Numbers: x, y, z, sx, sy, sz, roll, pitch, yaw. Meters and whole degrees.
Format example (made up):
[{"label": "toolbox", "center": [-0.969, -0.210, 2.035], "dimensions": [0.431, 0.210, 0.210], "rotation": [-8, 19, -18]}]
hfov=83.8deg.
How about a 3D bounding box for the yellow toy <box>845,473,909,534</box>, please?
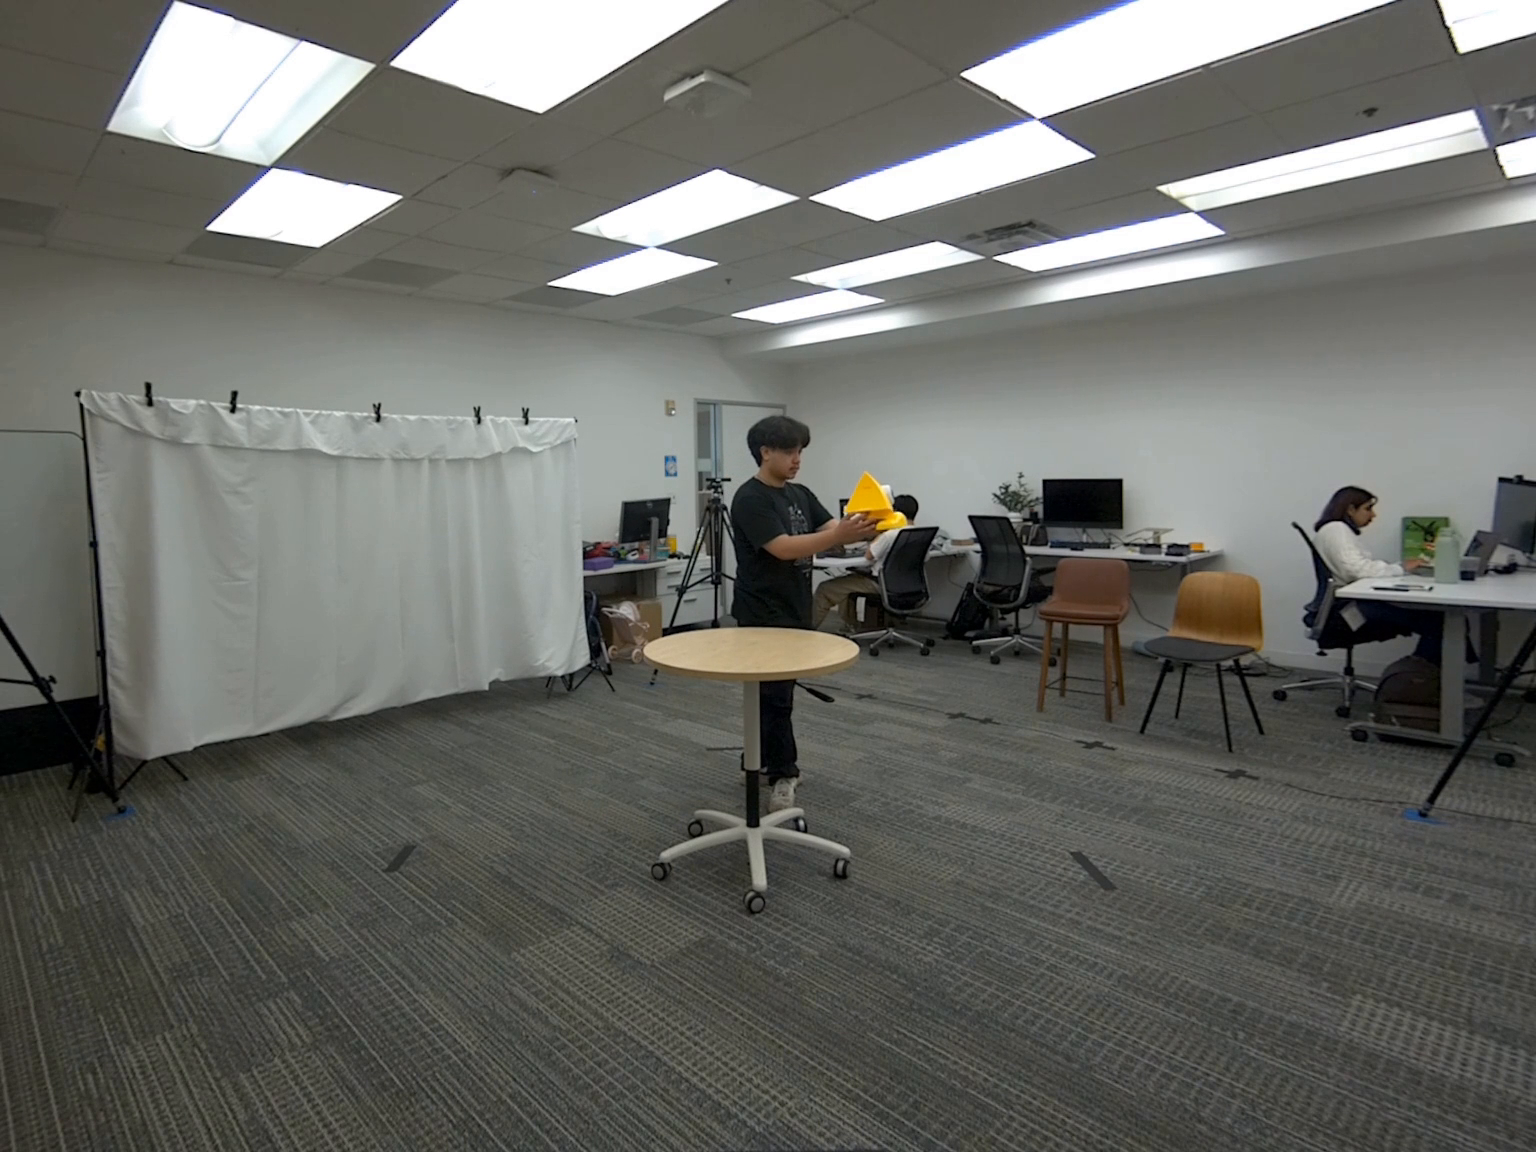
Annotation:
[{"label": "yellow toy", "center": [0.430, -0.301, 3.360], "dimensions": [0.210, 0.230, 0.188], "rotation": [-4, 4, 41]}]
